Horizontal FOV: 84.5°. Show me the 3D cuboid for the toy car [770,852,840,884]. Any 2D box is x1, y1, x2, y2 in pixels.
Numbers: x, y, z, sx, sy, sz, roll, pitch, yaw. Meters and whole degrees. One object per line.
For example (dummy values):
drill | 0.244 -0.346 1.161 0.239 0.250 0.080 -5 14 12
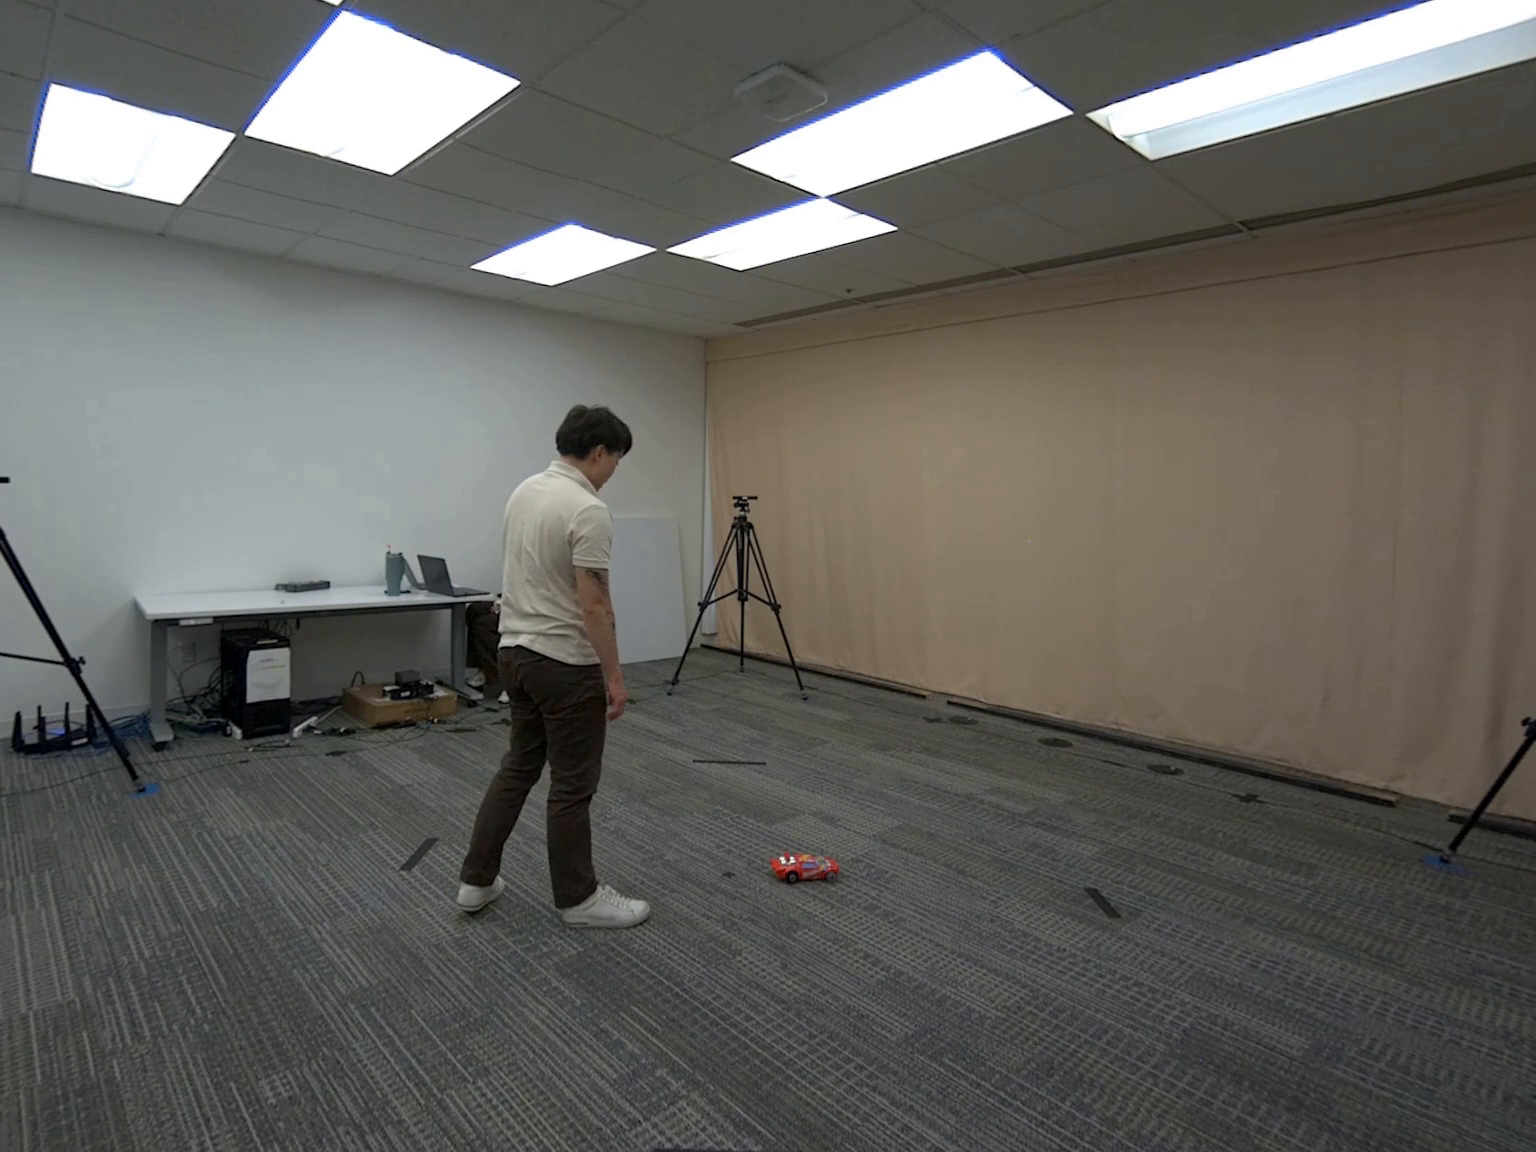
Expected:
toy car | 0.125 1.076 3.097 0.253 0.083 0.131 11 4 -6
